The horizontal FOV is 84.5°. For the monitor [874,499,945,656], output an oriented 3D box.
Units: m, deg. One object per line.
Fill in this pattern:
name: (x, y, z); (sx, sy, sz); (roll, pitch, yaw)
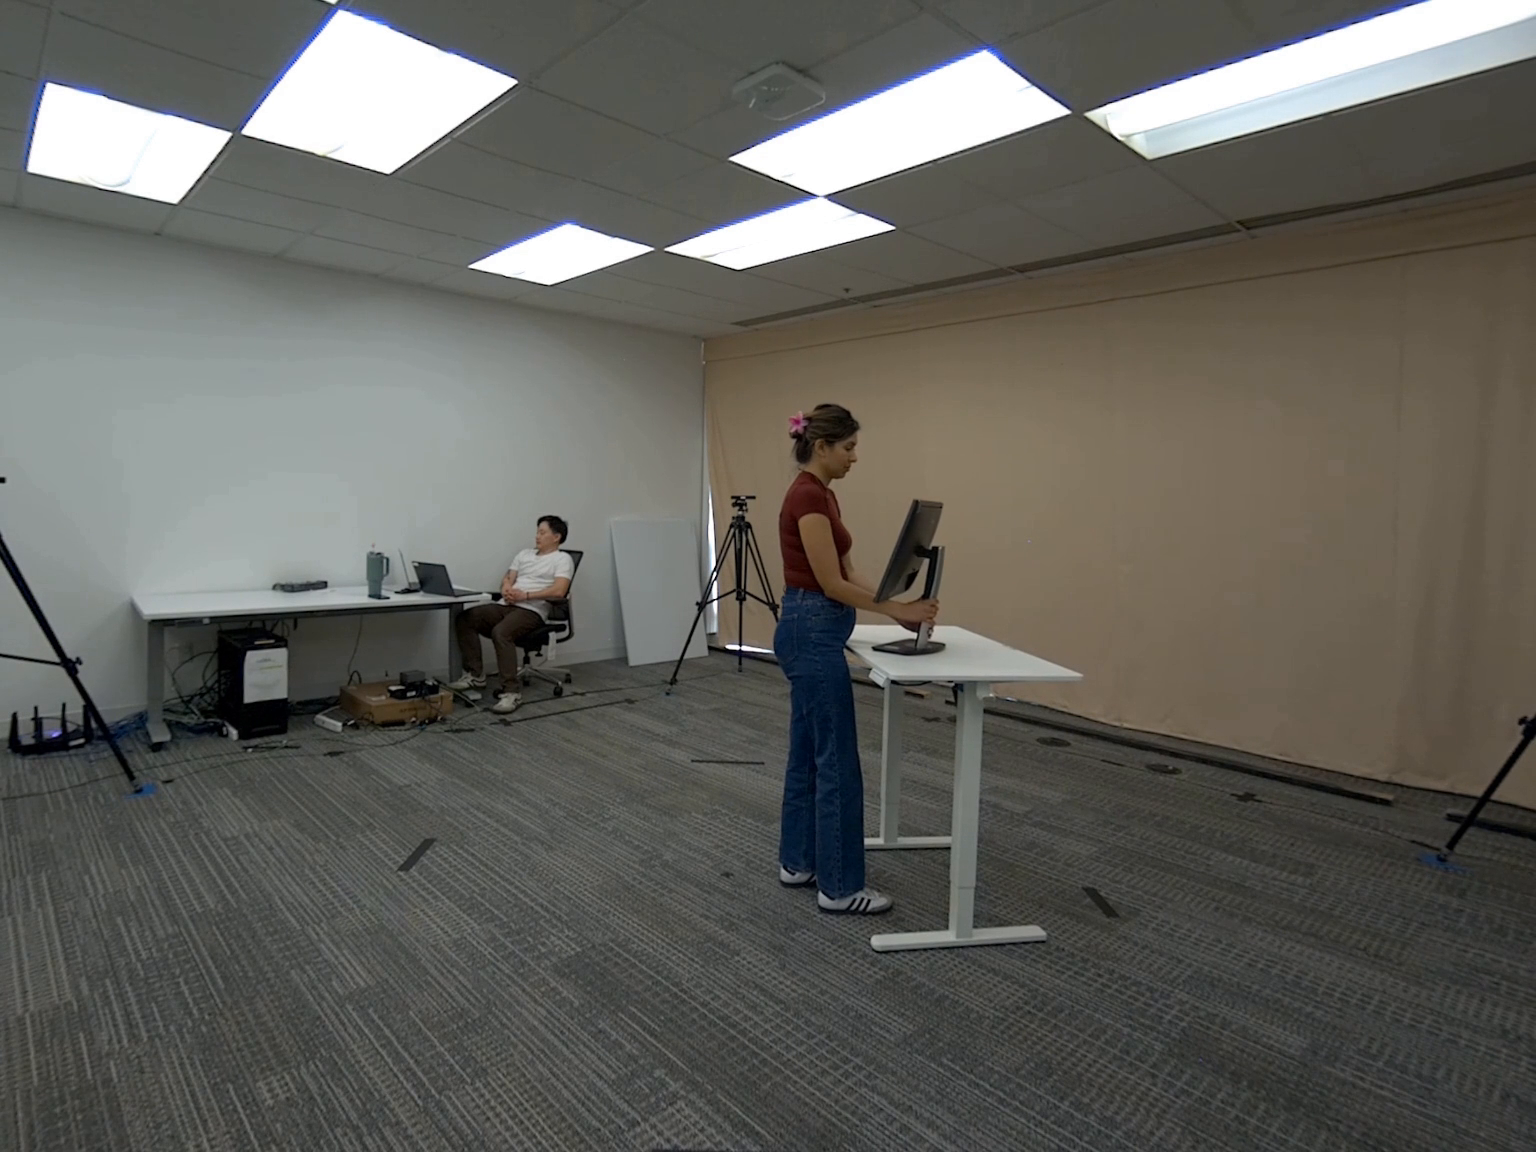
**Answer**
monitor: (0.510, 0.003, 2.878); (0.190, 0.521, 0.532); (6, 5, 18)
